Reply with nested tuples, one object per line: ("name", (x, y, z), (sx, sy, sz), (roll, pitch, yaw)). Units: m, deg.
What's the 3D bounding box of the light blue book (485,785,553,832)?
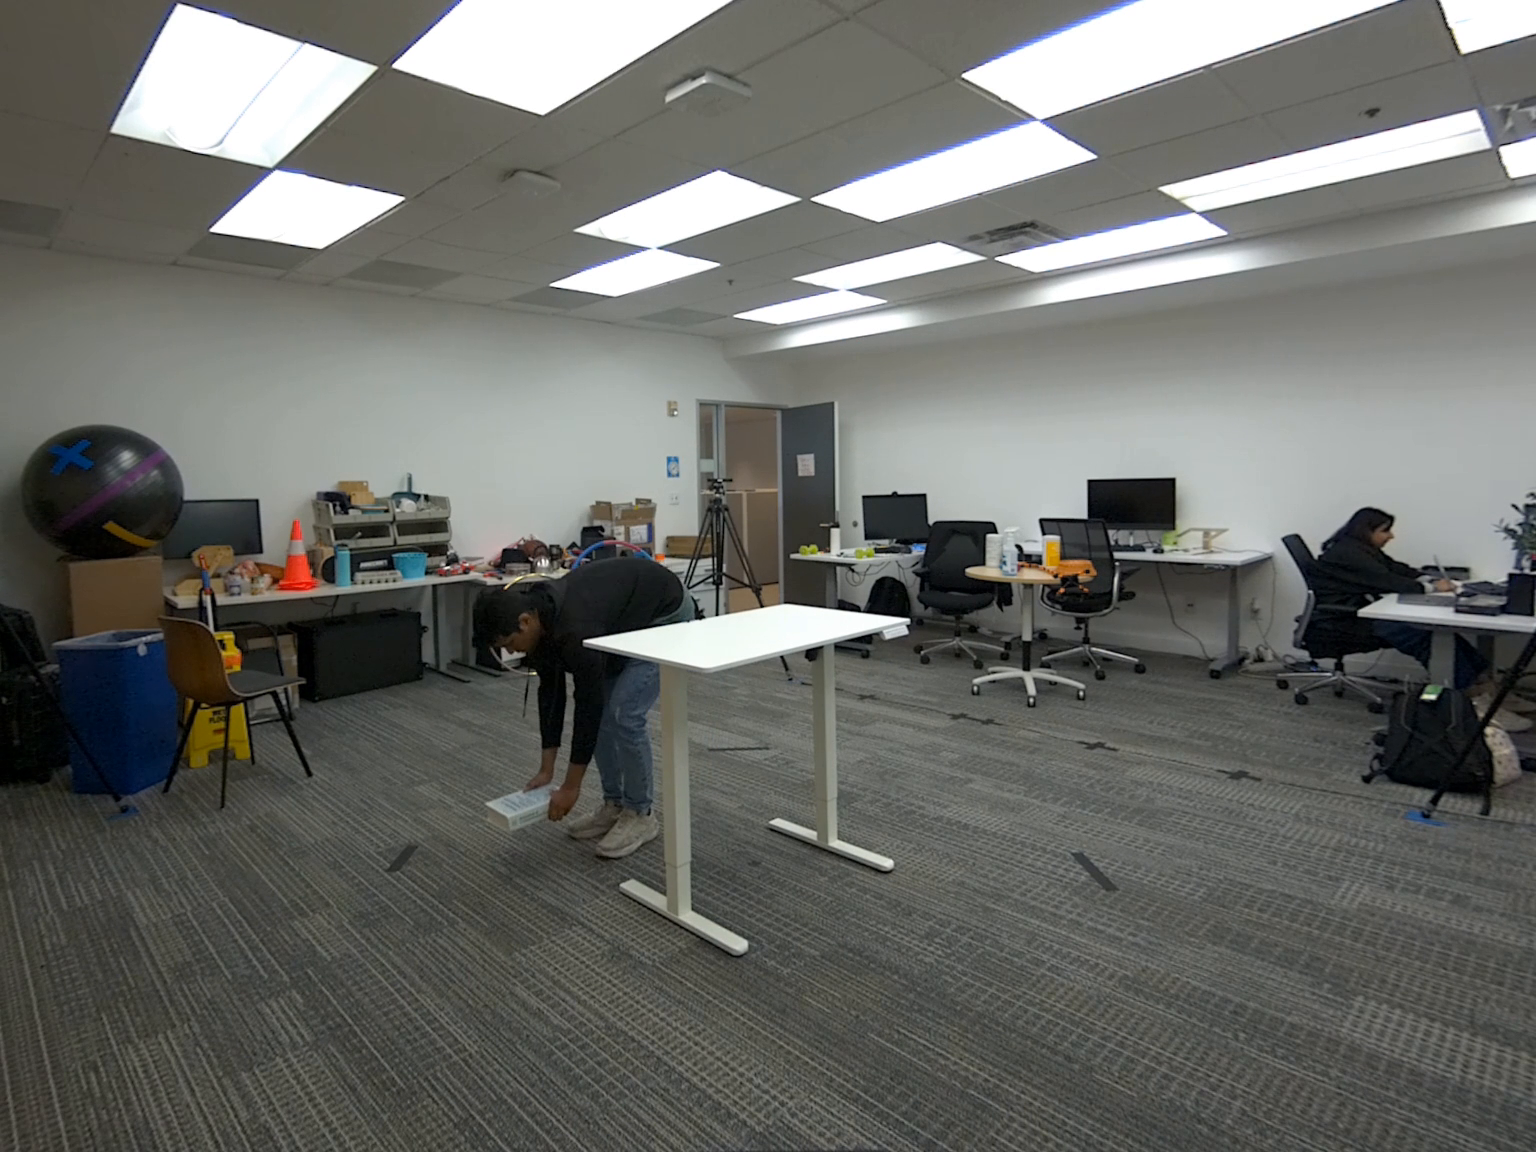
("light blue book", (-0.879, 0.839, 3.140), (0.255, 0.059, 0.197), (-10, 10, -41))
